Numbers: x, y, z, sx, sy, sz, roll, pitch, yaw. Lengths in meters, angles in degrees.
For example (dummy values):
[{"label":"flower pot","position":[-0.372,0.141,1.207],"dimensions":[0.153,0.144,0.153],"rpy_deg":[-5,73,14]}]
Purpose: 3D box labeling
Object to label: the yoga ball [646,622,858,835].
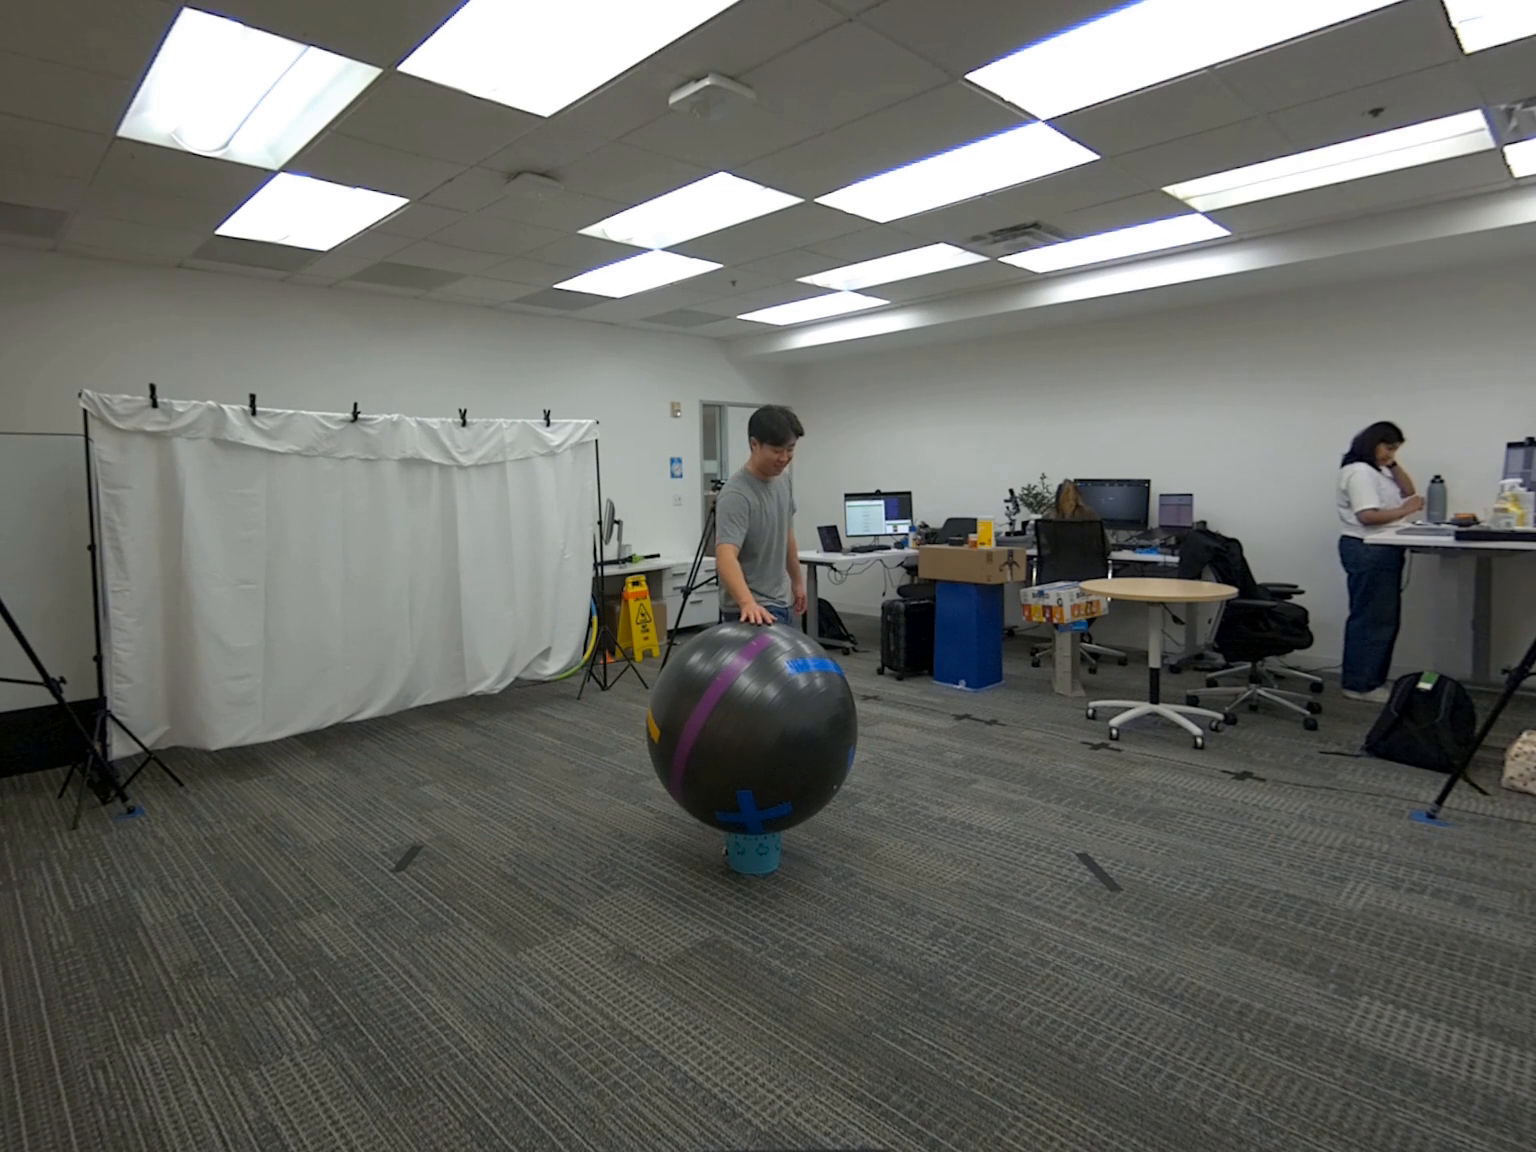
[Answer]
[{"label":"yoga ball","position":[-0.059,0.541,3.084],"dimensions":[0.757,0.755,0.762],"rpy_deg":[-1,5,-2]}]
